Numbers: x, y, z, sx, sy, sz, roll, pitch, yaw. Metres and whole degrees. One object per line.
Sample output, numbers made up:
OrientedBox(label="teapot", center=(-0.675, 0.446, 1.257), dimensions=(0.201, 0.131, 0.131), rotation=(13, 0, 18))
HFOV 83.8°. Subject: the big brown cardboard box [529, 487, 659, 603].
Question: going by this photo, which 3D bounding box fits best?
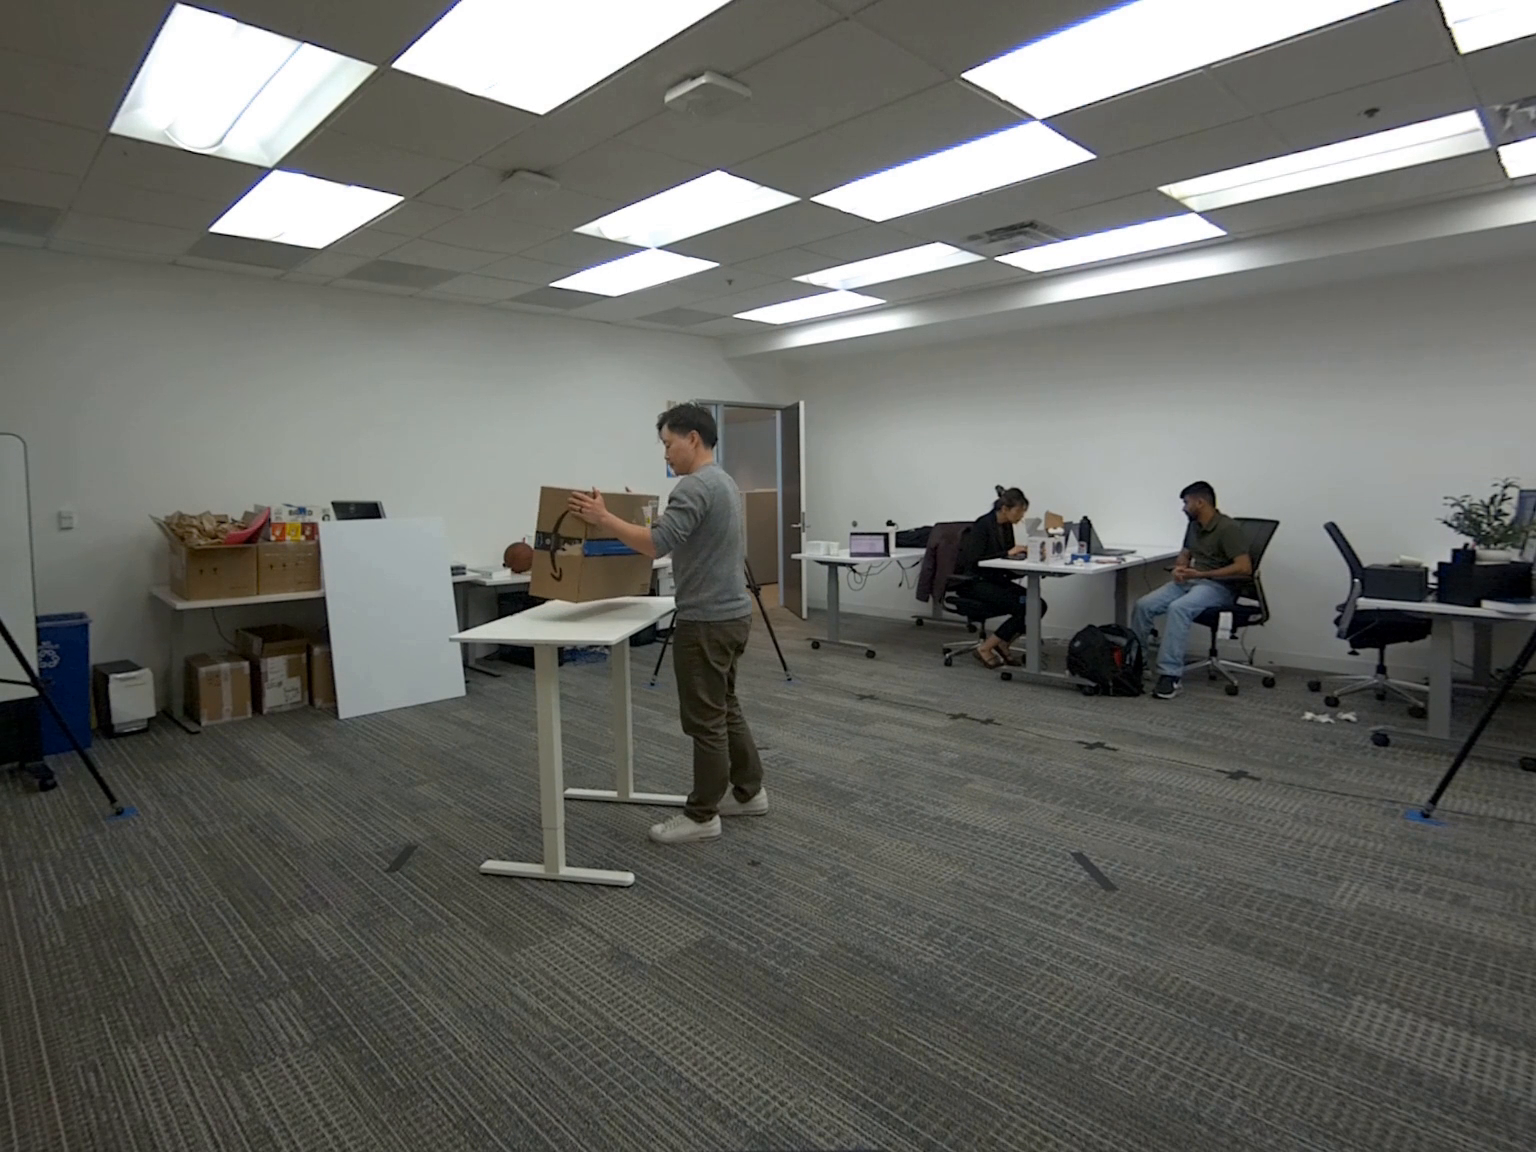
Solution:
OrientedBox(label="big brown cardboard box", center=(-0.675, -0.131, 3.416), dimensions=(0.238, 0.416, 0.577), rotation=(8, 5, 21))
